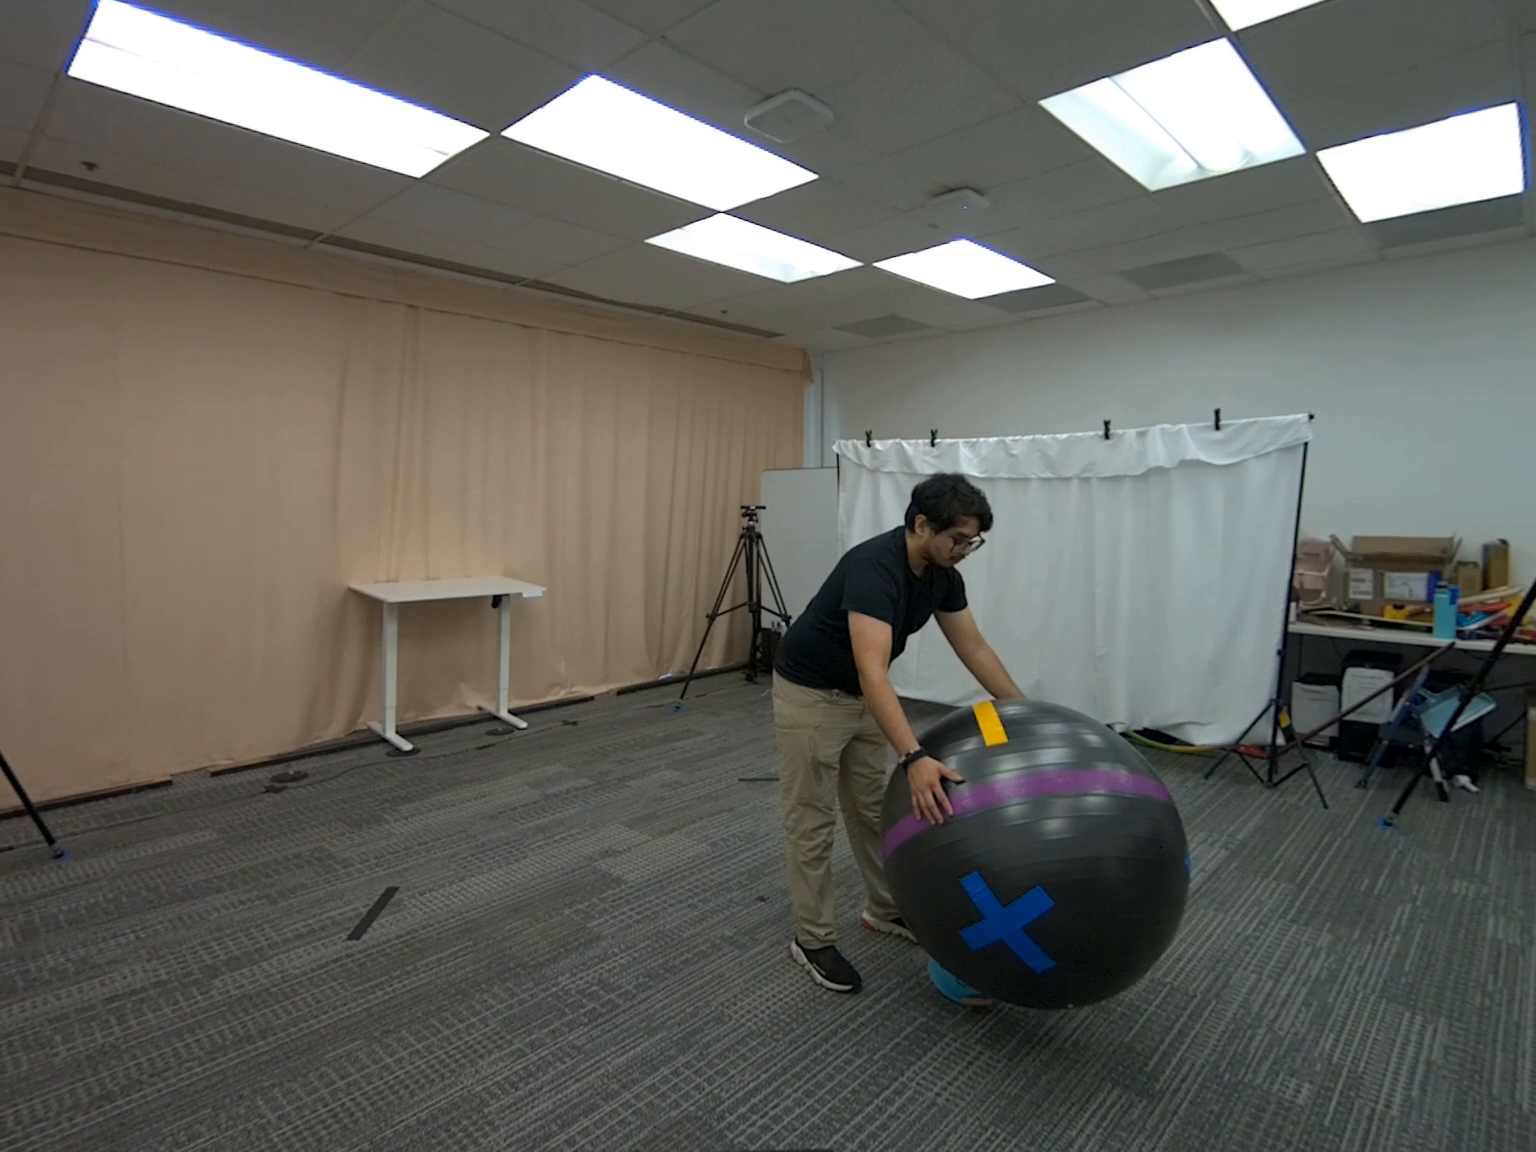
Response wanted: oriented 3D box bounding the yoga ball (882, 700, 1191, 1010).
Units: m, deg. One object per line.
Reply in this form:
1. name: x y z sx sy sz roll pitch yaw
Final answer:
1. yoga ball: 0.692 0.716 2.200 0.757 0.756 0.760 0 4 -2
